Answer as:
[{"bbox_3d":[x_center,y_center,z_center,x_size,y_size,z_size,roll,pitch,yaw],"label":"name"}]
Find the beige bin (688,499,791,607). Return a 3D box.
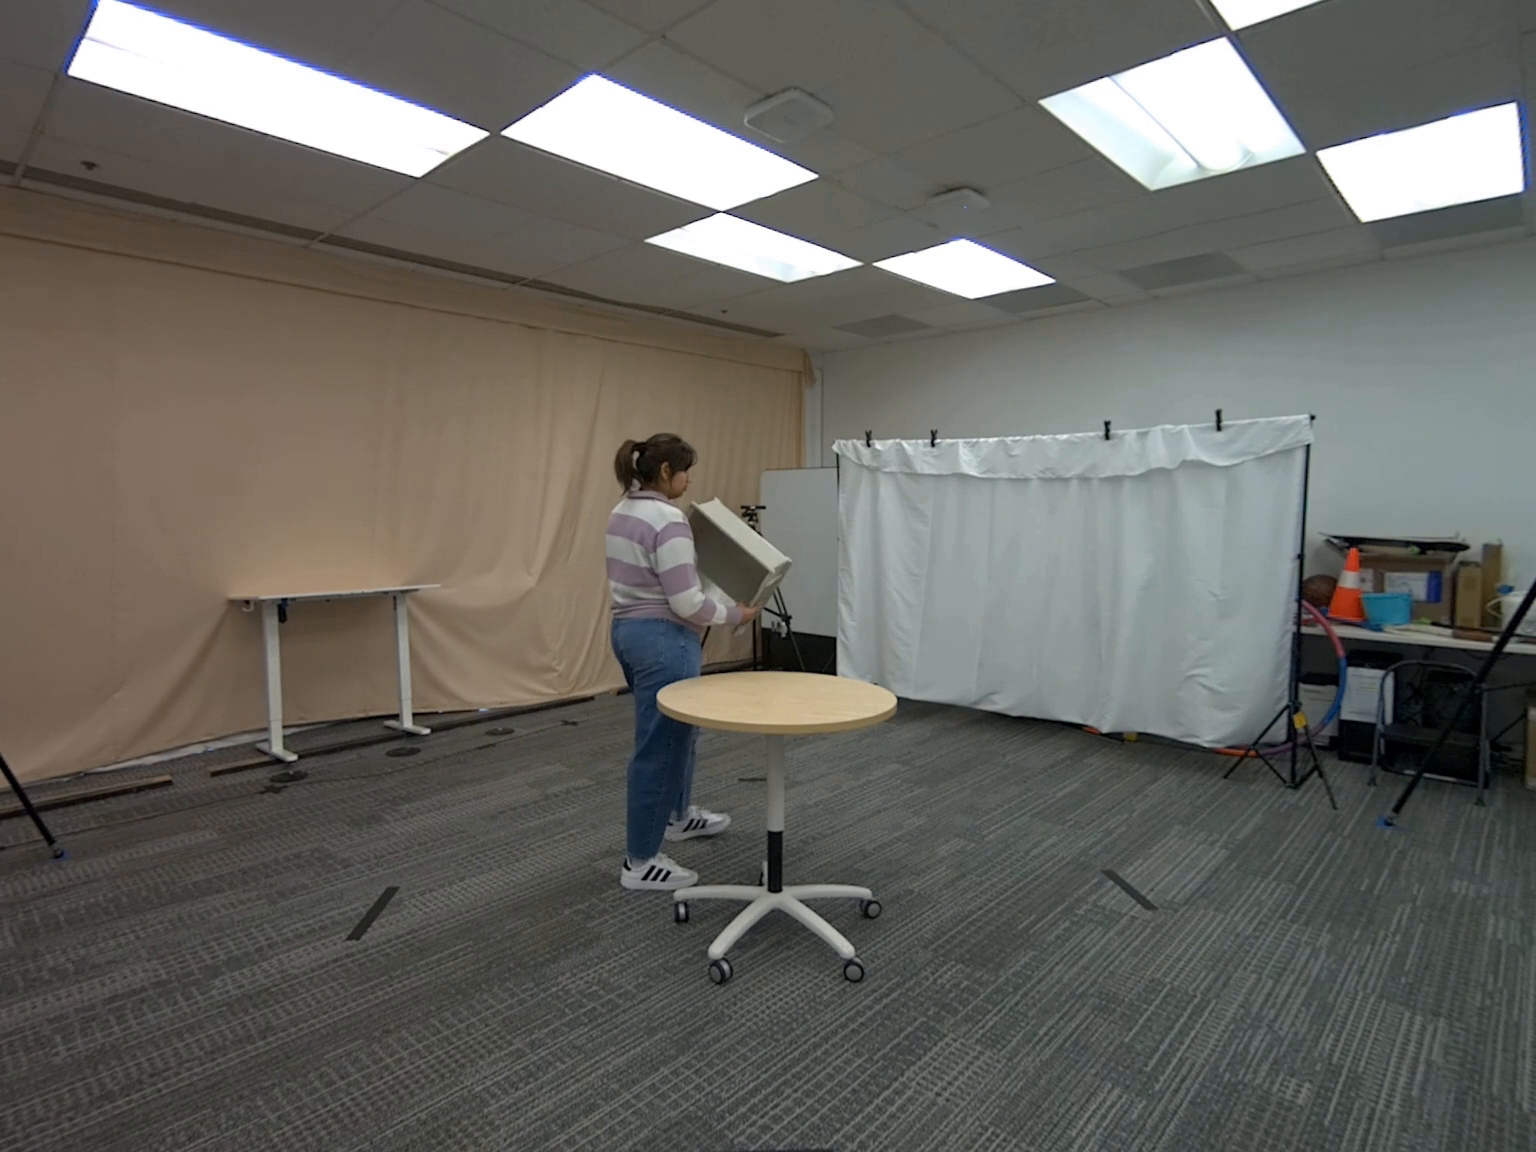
[{"bbox_3d":[-0.173,-0.034,3.296,0.431,0.377,0.185,41,29,17],"label":"beige bin"}]
